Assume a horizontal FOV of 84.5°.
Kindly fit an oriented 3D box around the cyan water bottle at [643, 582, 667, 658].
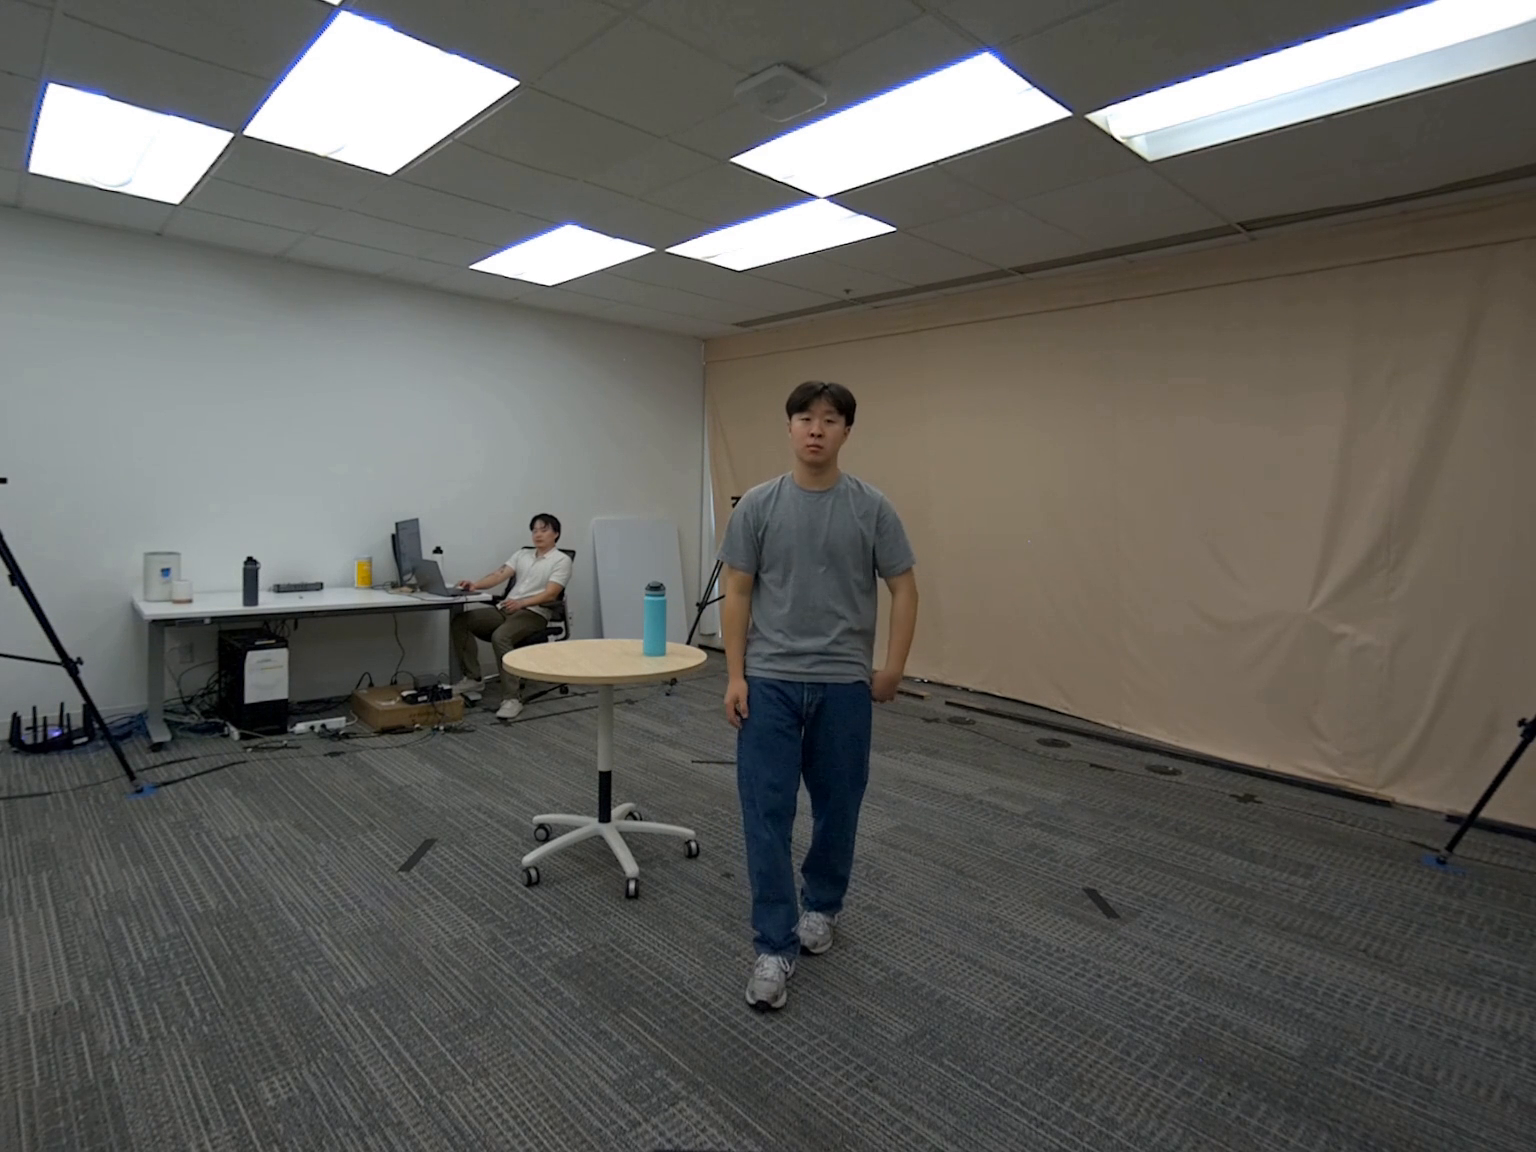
[{"bbox_3d":[-0.444,0.163,3.231,0.092,0.283,0.092,2,2,-1],"label":"cyan water bottle"}]
